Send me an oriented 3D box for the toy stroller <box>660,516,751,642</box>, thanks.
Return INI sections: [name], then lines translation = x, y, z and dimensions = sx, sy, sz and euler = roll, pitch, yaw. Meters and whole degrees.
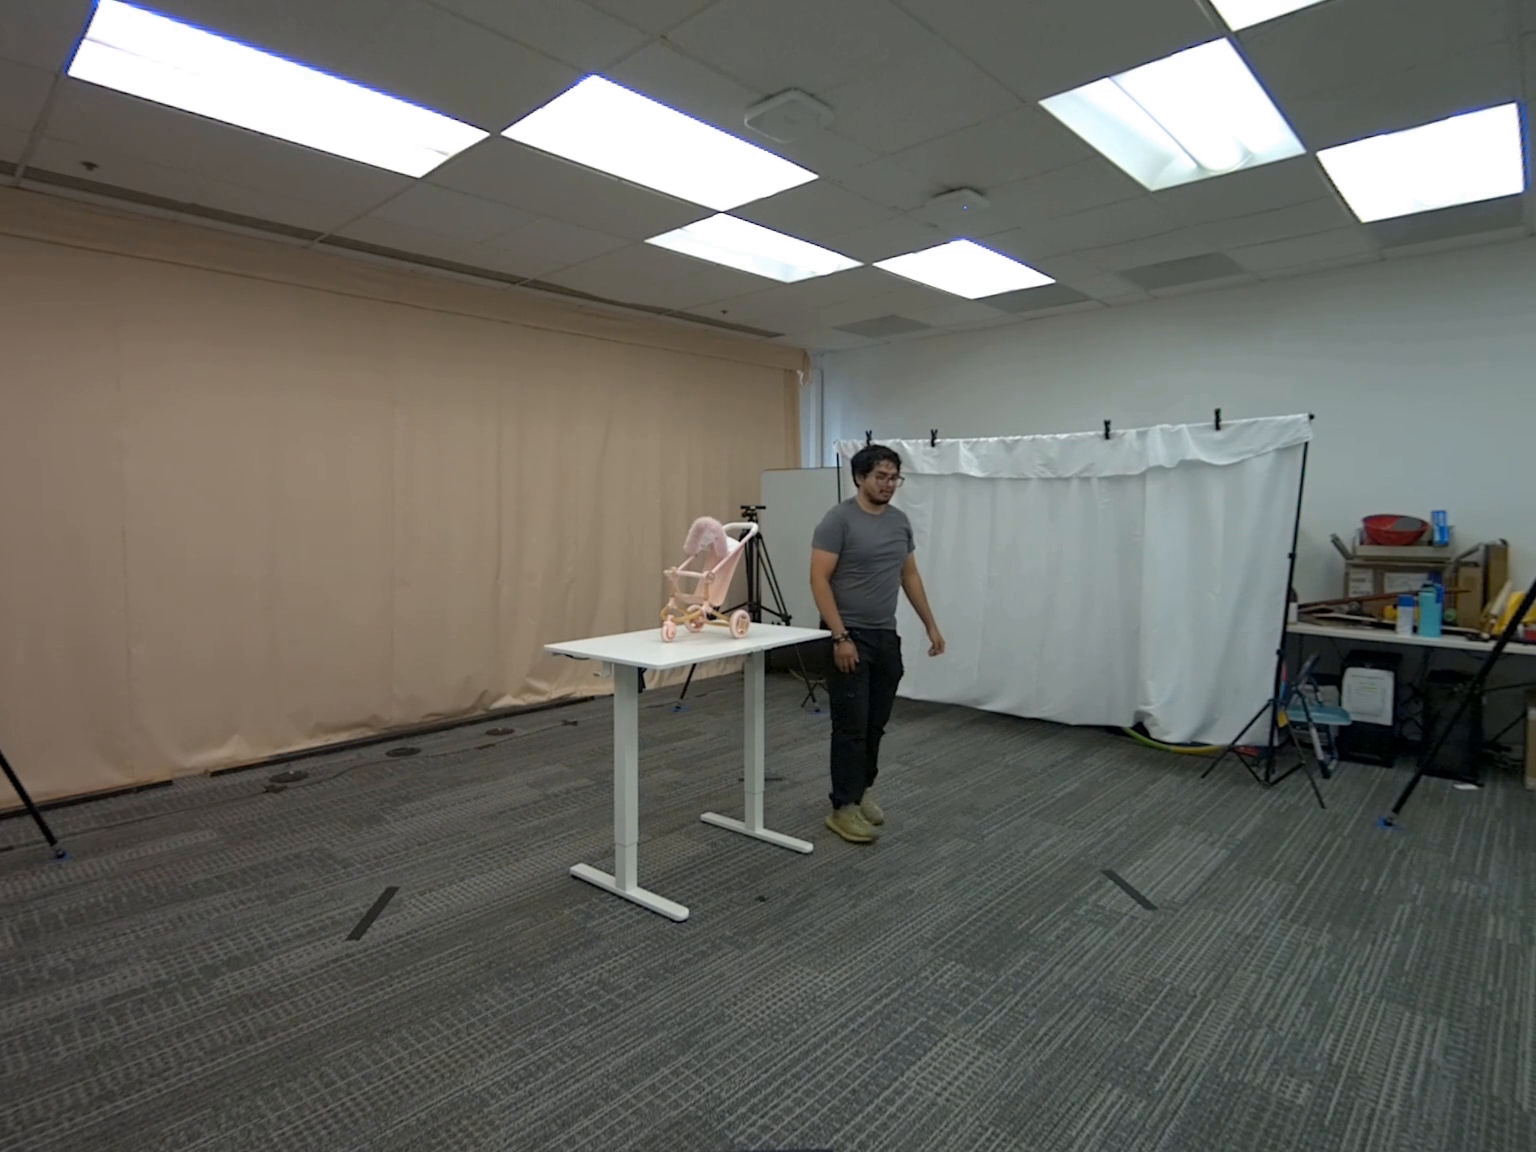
[toy stroller]
translation = -0.246, 0.012, 3.277
dimensions = 0.329, 0.536, 0.291
euler = 16, -9, -42
